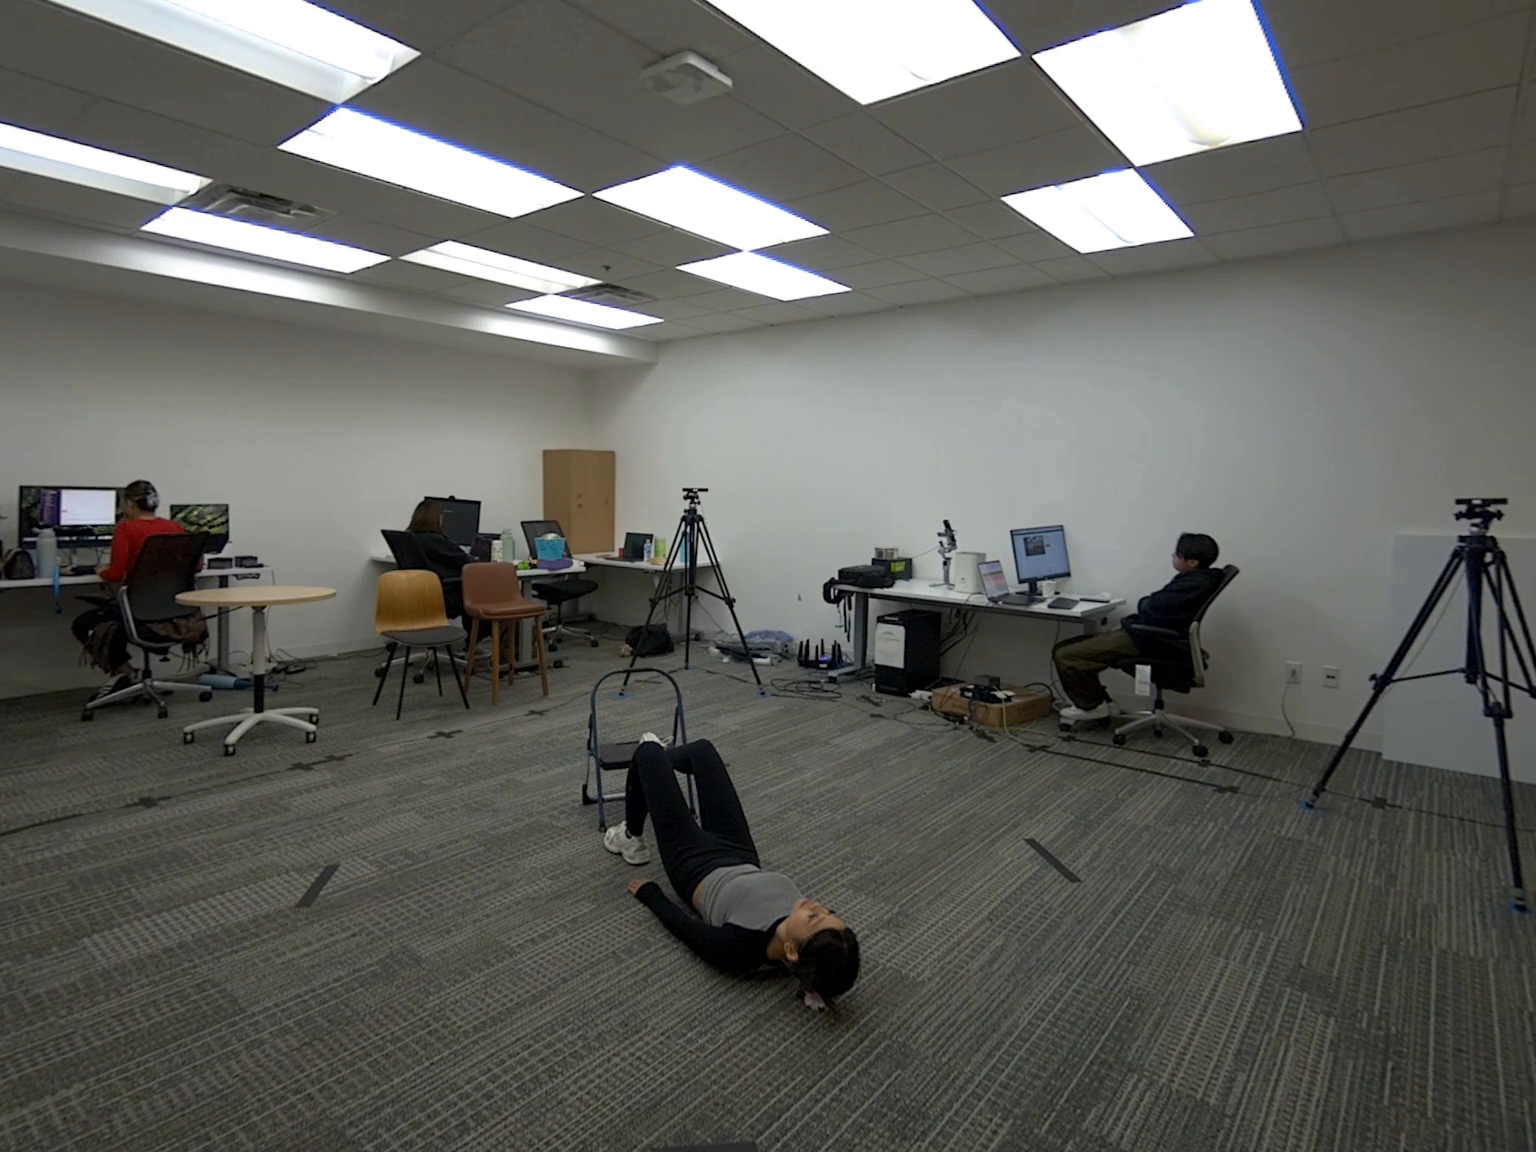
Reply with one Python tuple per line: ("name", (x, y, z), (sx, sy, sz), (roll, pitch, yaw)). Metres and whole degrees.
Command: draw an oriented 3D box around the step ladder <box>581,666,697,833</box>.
("step ladder", (-0.571, 0.711, 3.654), (0.420, 0.604, 0.359), (0, 4, -25))
